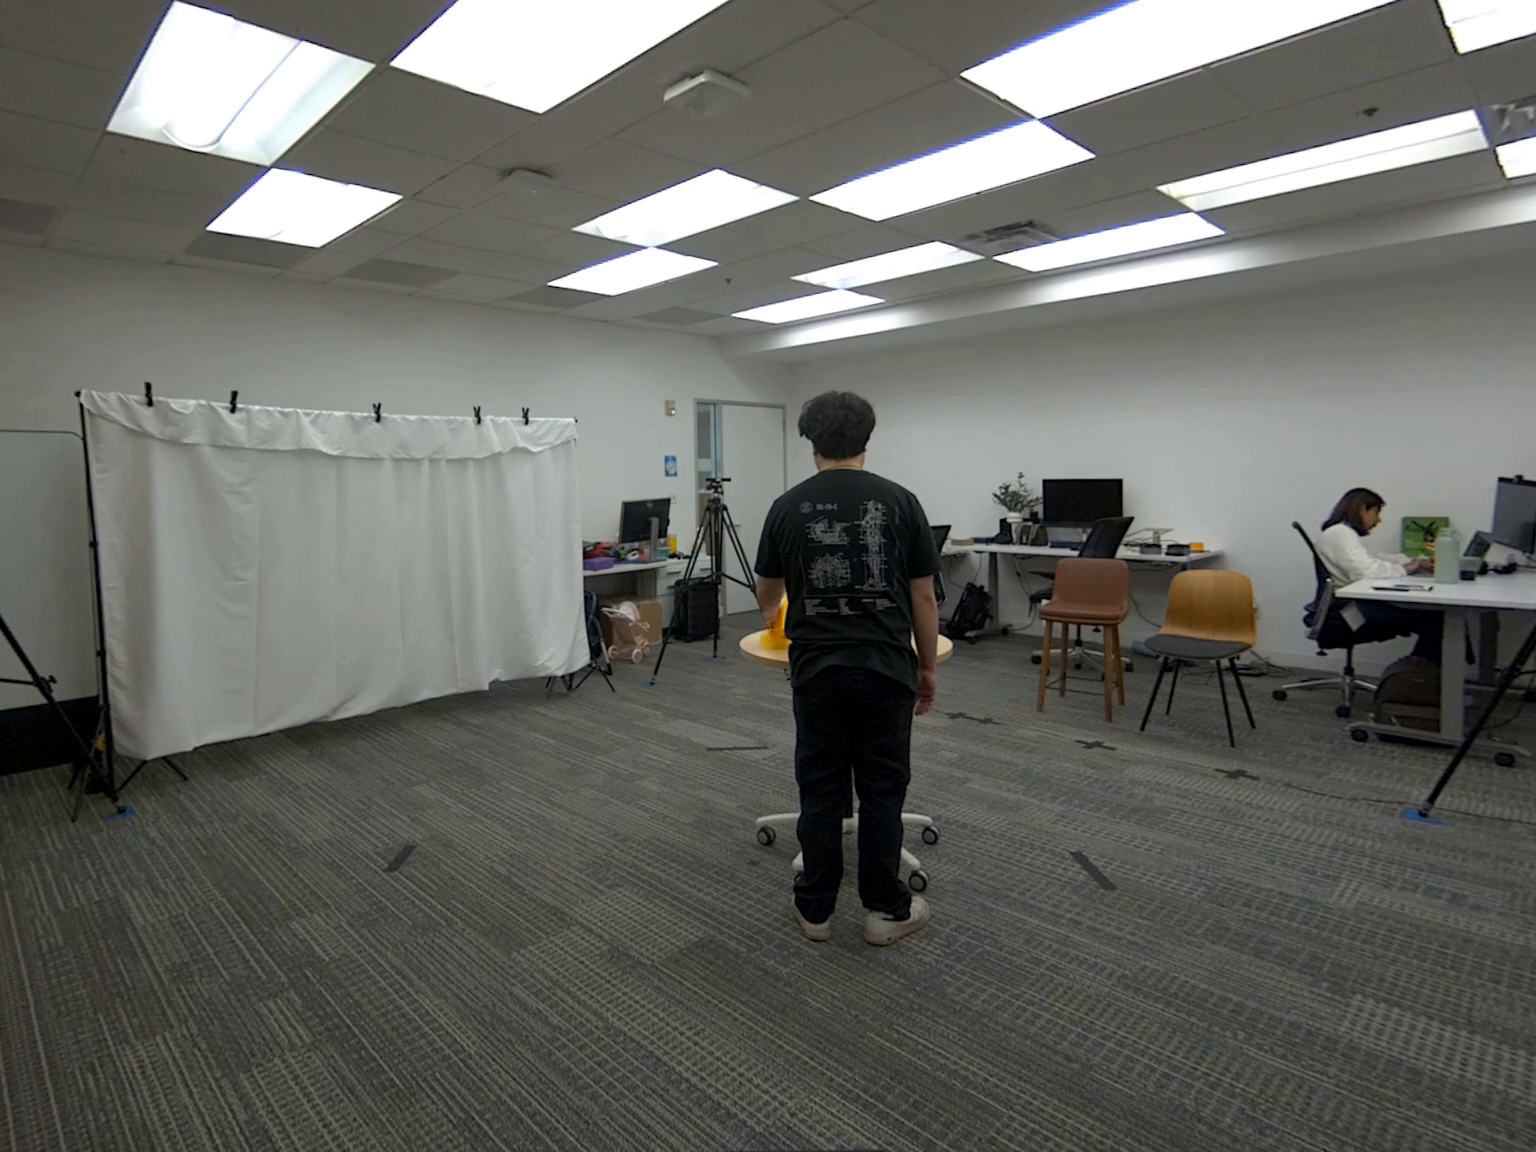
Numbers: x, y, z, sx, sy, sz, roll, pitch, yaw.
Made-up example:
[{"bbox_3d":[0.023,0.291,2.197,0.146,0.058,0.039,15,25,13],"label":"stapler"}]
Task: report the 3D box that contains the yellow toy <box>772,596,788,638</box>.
[{"bbox_3d":[0.090,0.135,3.106,0.200,0.230,0.198,-6,5,-36],"label":"yellow toy"}]
